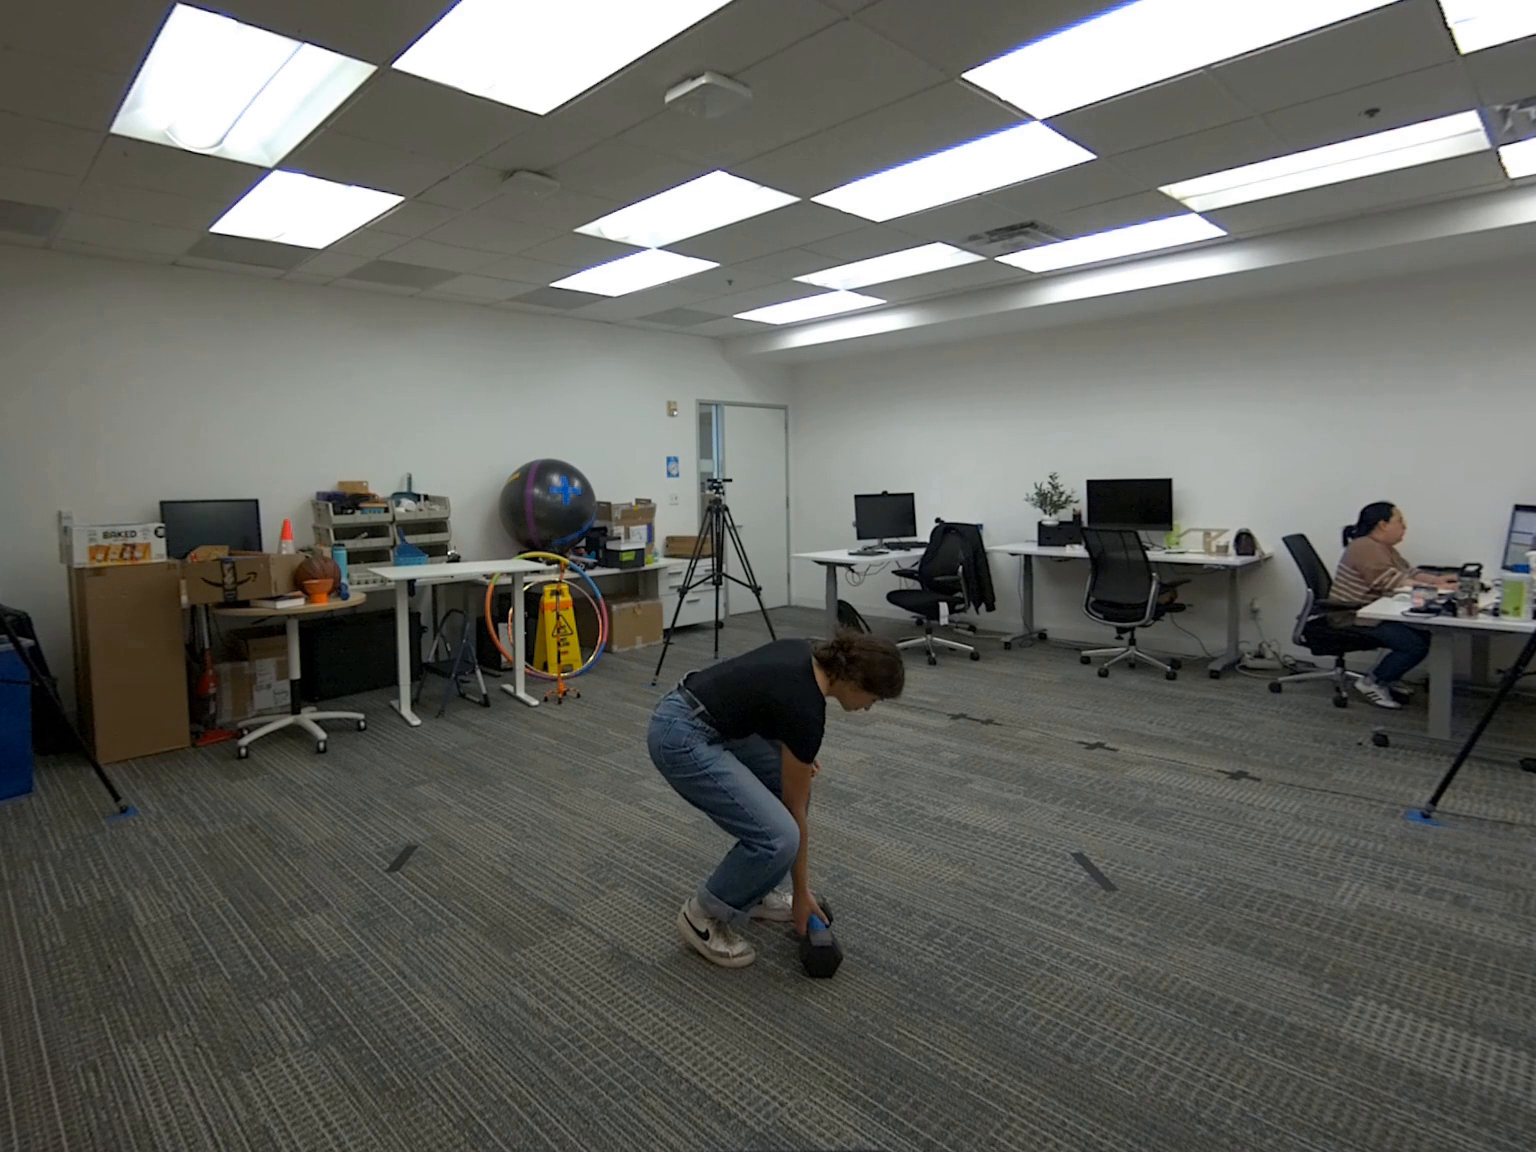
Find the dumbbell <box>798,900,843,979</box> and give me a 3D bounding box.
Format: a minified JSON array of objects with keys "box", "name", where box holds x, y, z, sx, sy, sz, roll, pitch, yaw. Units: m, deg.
[{"box":[0.144,1.048,2.529,0.109,0.122,0.295,-31,6,0],"name":"dumbbell"}]
